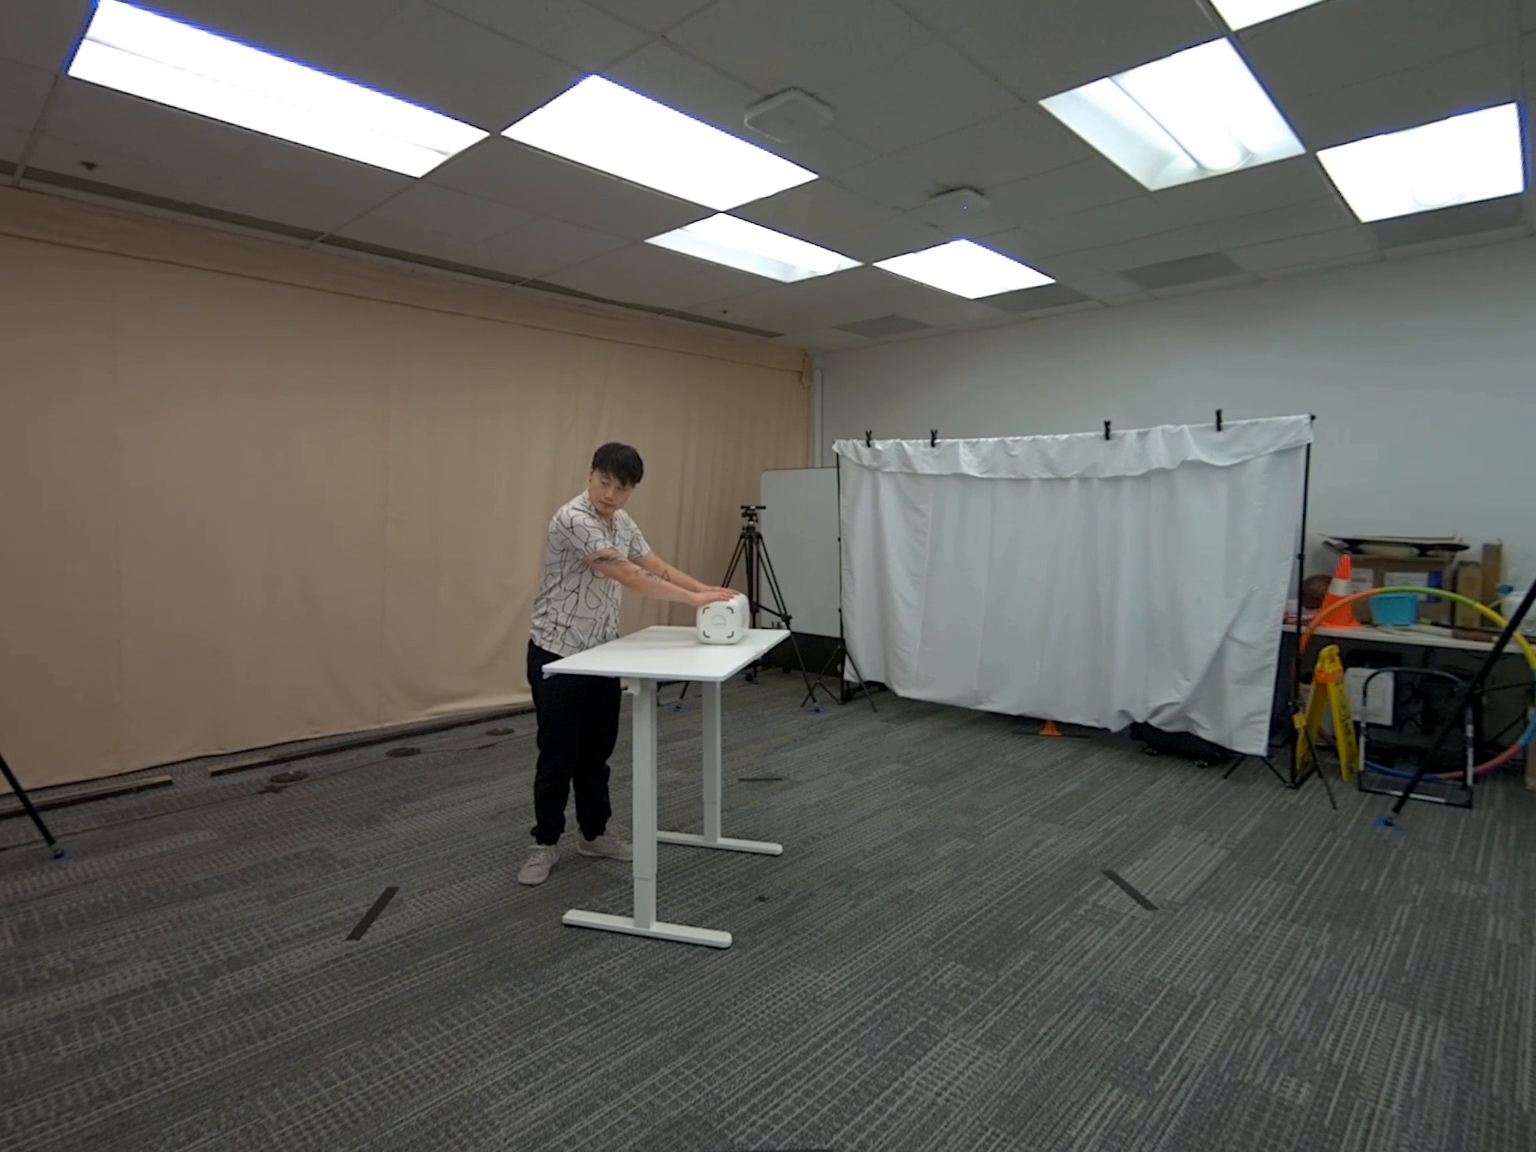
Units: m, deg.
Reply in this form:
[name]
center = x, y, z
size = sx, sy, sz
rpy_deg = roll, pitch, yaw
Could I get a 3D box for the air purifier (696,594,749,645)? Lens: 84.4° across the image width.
[air purifier]
center = -0.168, 0.164, 3.195
size = 0.173, 0.170, 0.264
rpy_deg = -1, 5, 7
